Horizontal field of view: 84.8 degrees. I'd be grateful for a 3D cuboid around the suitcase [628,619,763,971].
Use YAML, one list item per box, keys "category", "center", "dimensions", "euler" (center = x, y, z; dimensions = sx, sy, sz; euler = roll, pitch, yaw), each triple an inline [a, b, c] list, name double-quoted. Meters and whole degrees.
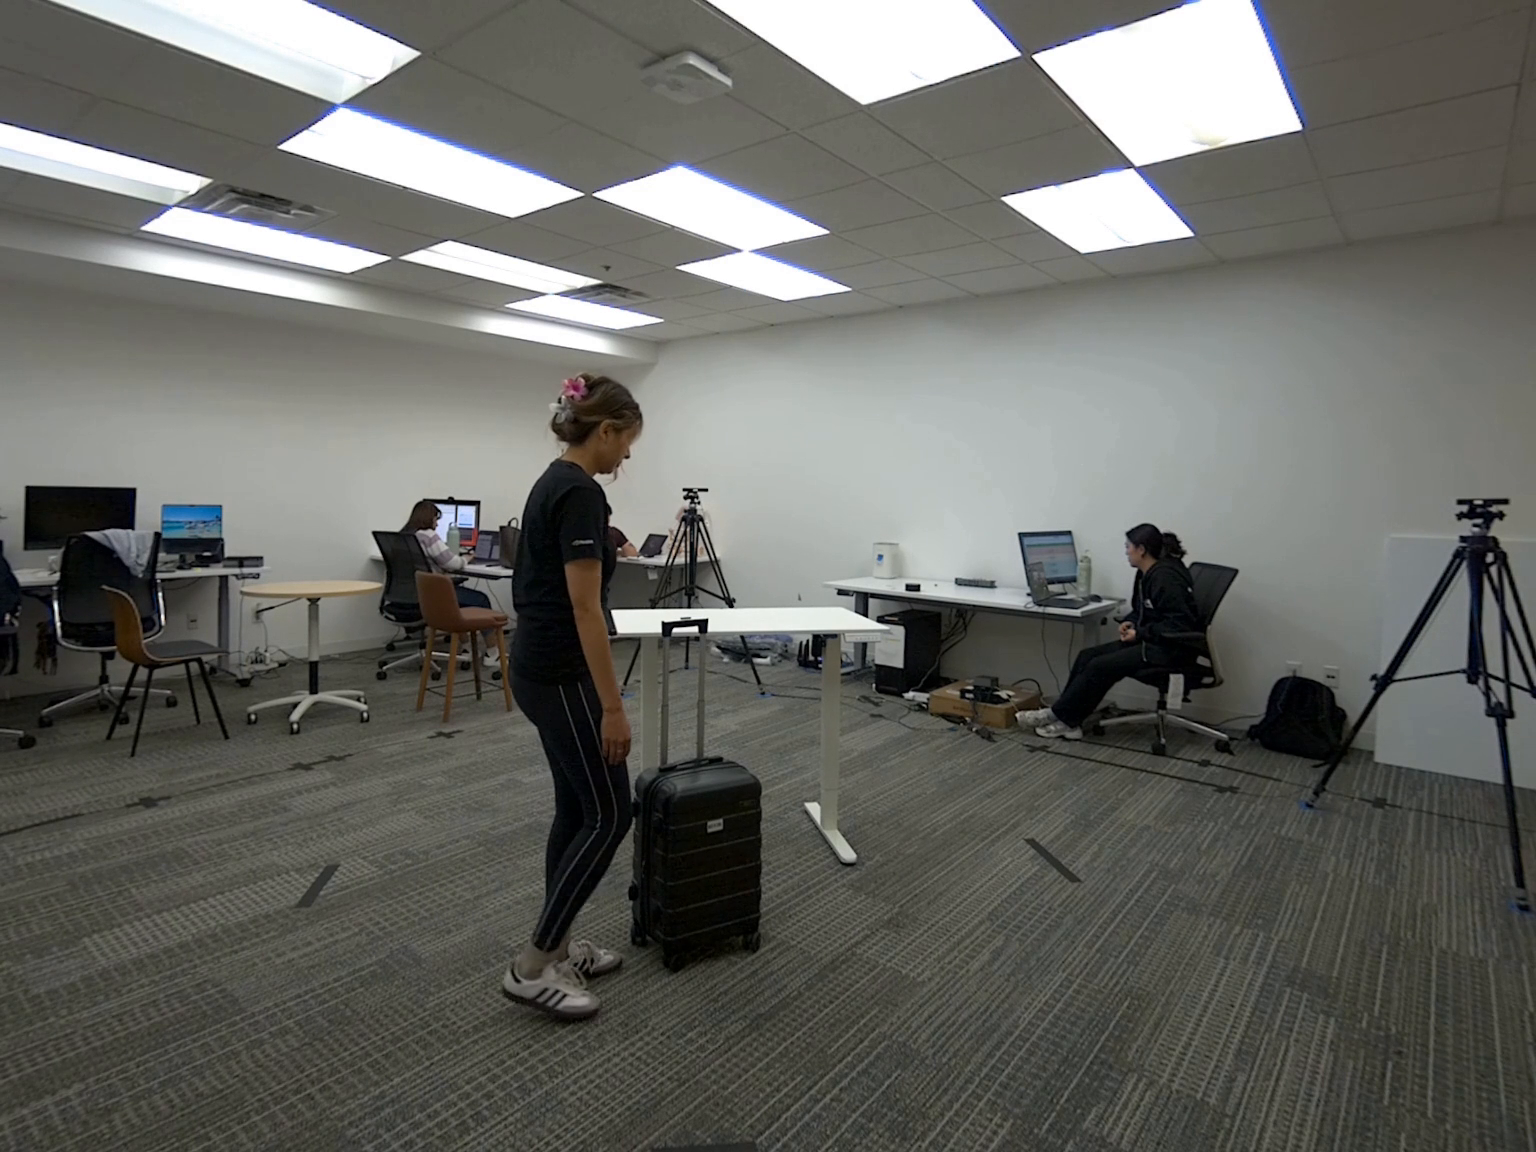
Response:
- category: "suitcase"
  center: [-0.213, 0.643, 2.576]
  dimensions: [0.374, 0.975, 0.265]
  euler: [0, 4, -30]
